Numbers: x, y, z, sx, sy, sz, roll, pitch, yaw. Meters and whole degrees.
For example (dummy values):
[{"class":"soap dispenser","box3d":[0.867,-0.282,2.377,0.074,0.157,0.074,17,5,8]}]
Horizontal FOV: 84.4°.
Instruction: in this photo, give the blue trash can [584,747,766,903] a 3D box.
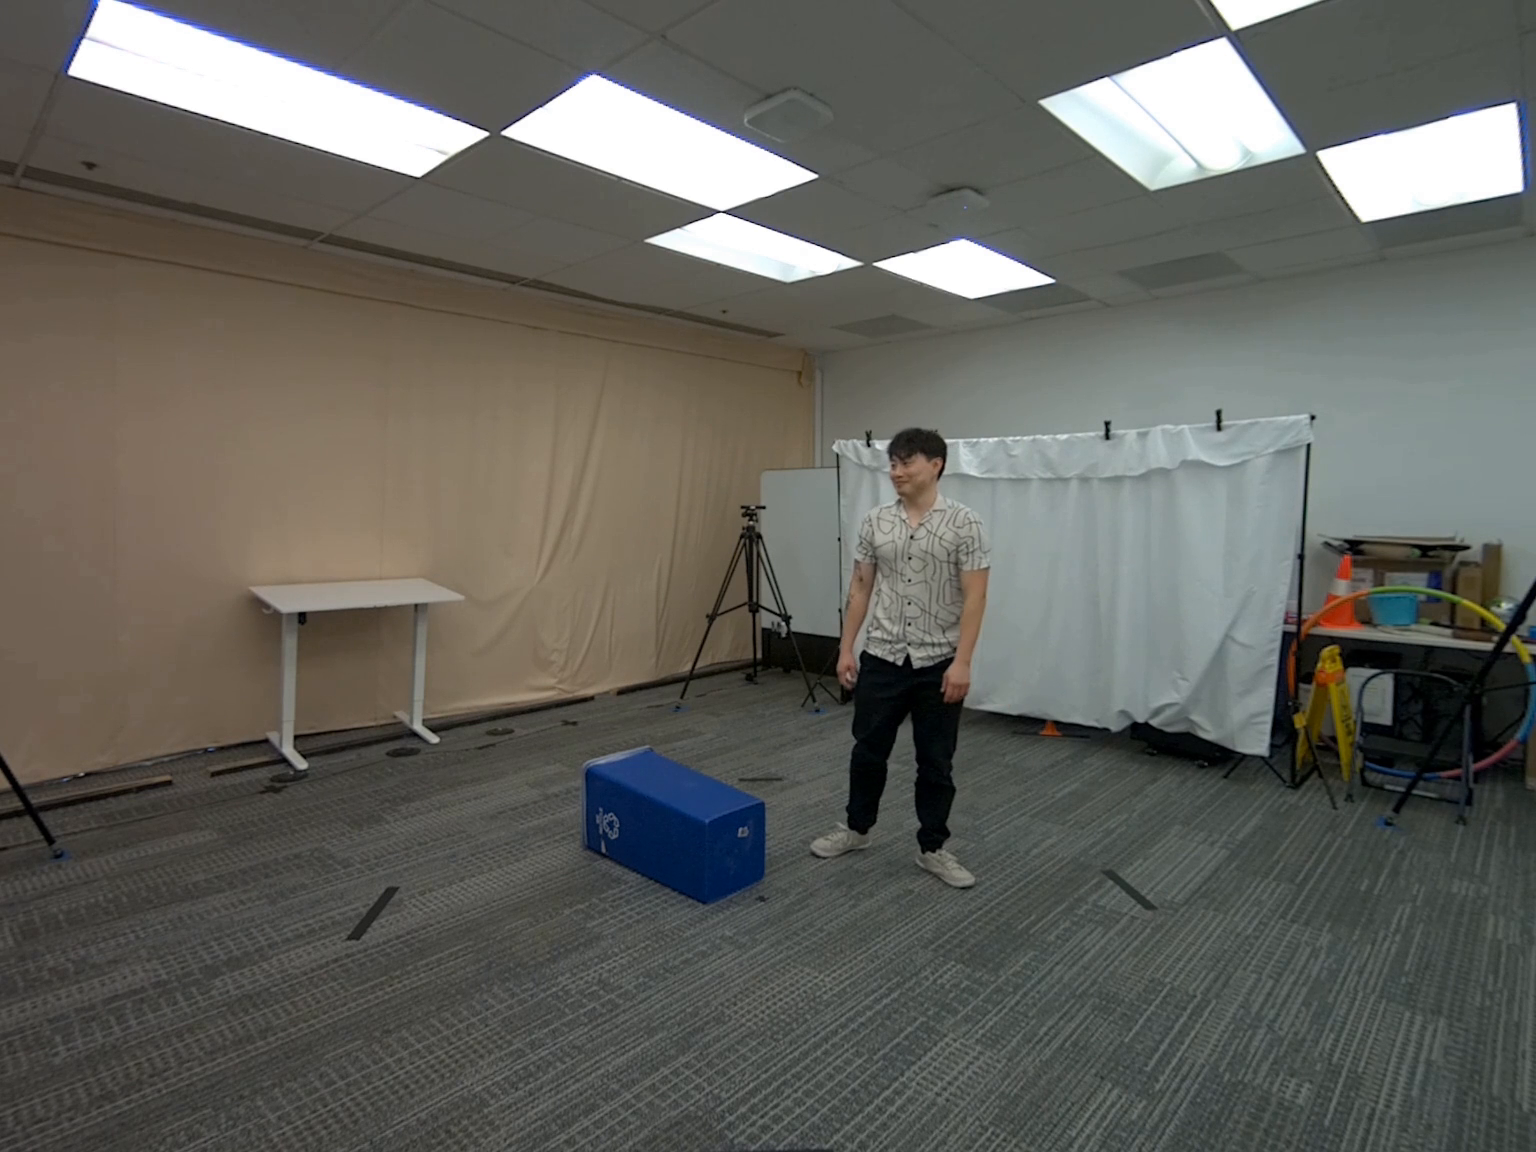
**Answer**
[{"class":"blue trash can","box3d":[-0.370,0.951,3.271,0.362,0.377,0.738,-3,7,-45]}]
